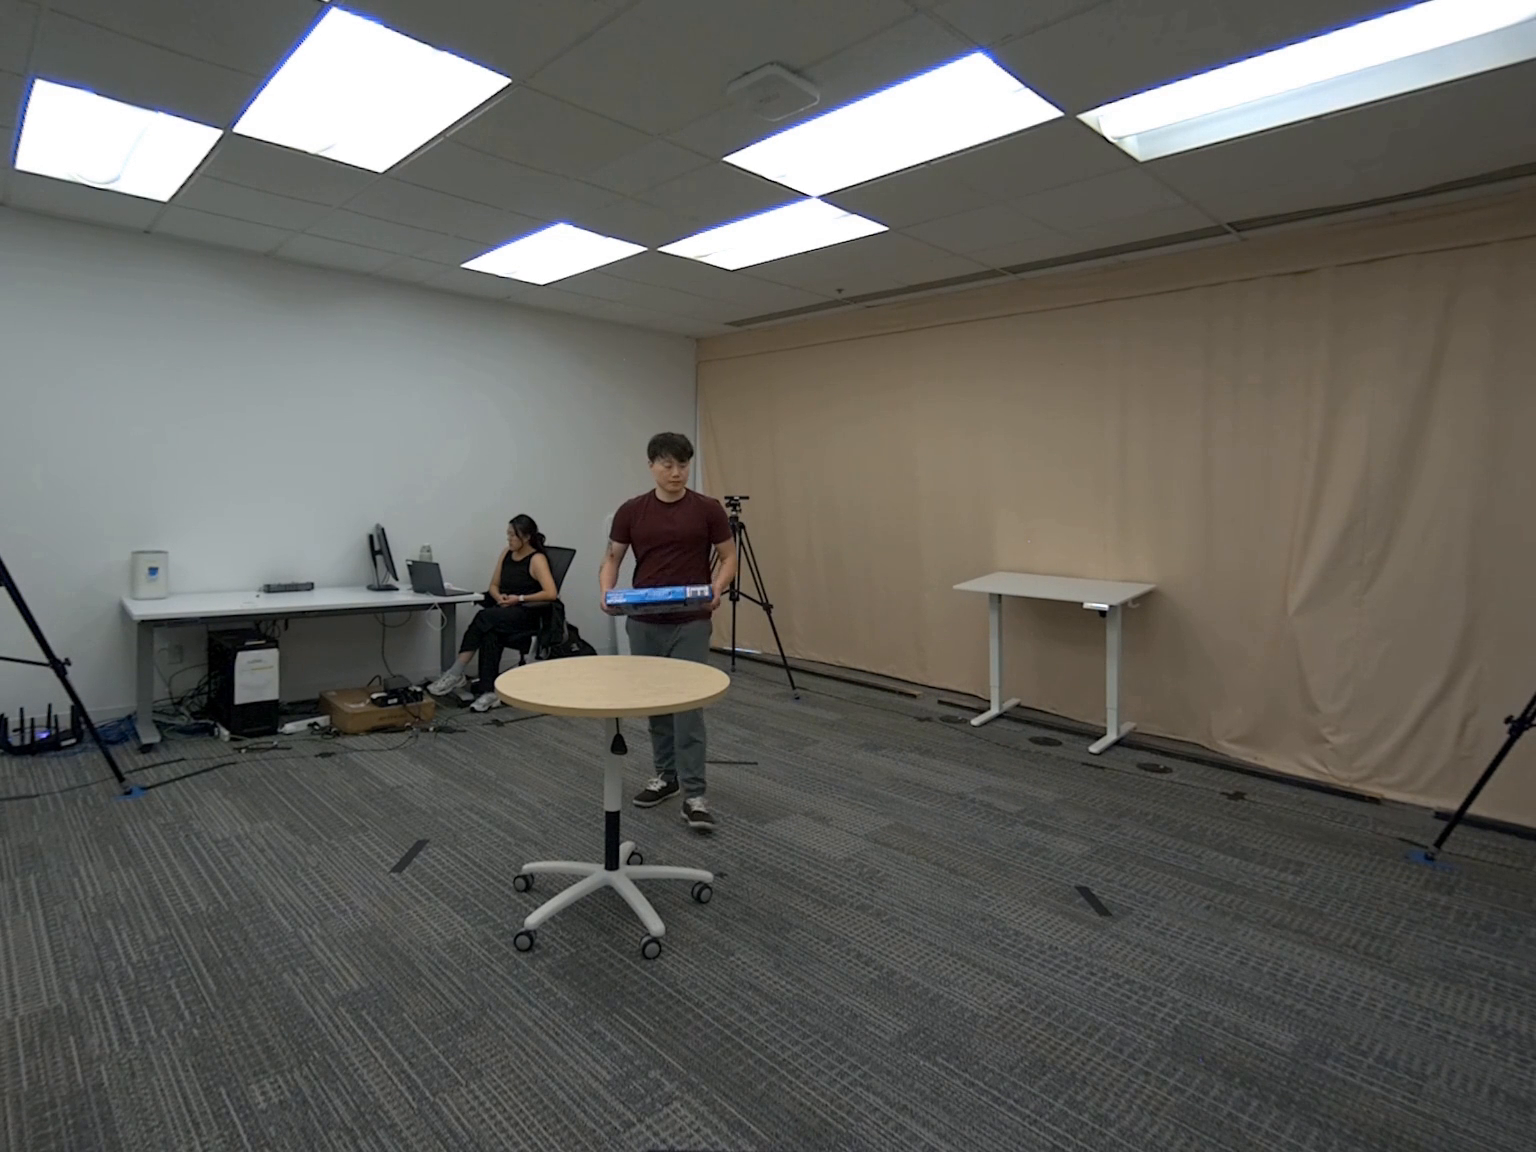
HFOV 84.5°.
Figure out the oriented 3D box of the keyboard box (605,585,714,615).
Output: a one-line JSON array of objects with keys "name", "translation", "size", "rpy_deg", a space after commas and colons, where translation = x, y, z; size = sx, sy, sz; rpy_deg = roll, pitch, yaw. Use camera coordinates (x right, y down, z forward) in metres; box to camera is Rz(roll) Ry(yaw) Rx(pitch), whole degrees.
[{"name": "keyboard box", "translation": [-0.451, 0.104, 3.548], "size": [0.437, 0.060, 0.173], "rpy_deg": [-5, -20, 0]}]
